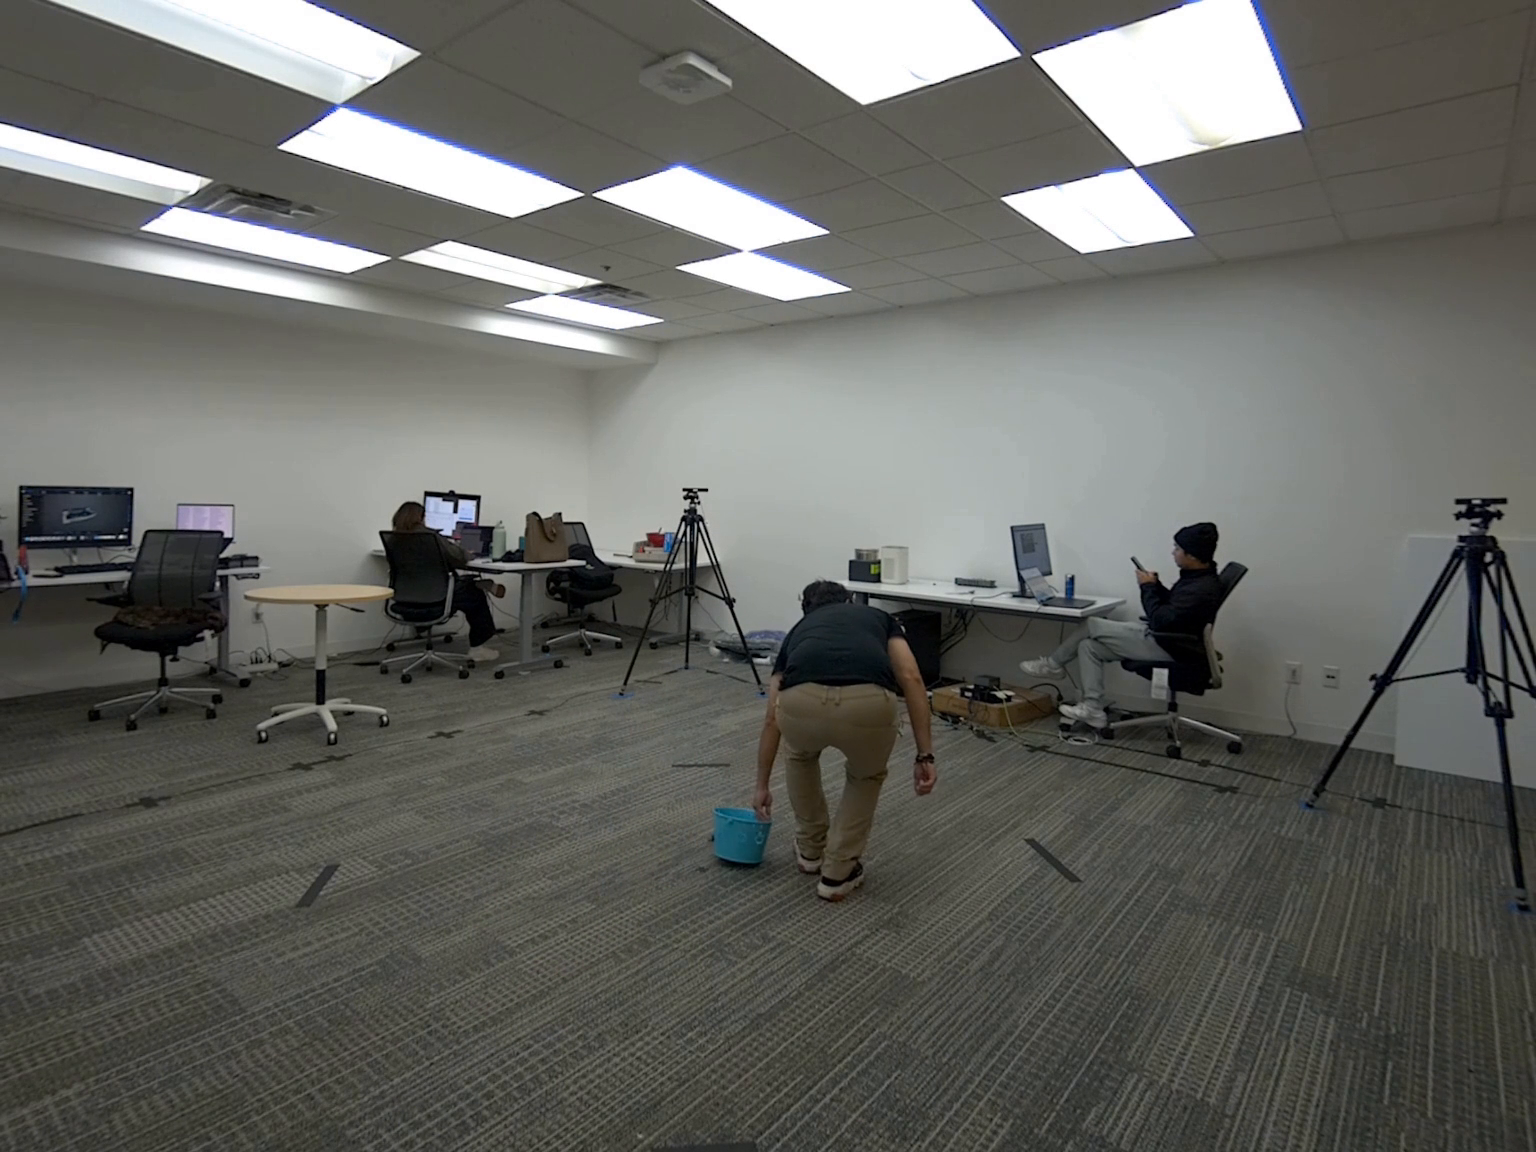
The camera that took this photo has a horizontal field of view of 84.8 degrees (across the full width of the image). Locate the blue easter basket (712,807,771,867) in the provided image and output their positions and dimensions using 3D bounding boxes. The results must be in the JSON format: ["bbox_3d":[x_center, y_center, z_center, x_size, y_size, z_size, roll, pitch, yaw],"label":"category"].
[{"bbox_3d":[-0.115,0.975,3.204,0.244,0.157,0.242,8,-5,-1],"label":"blue easter basket"}]
